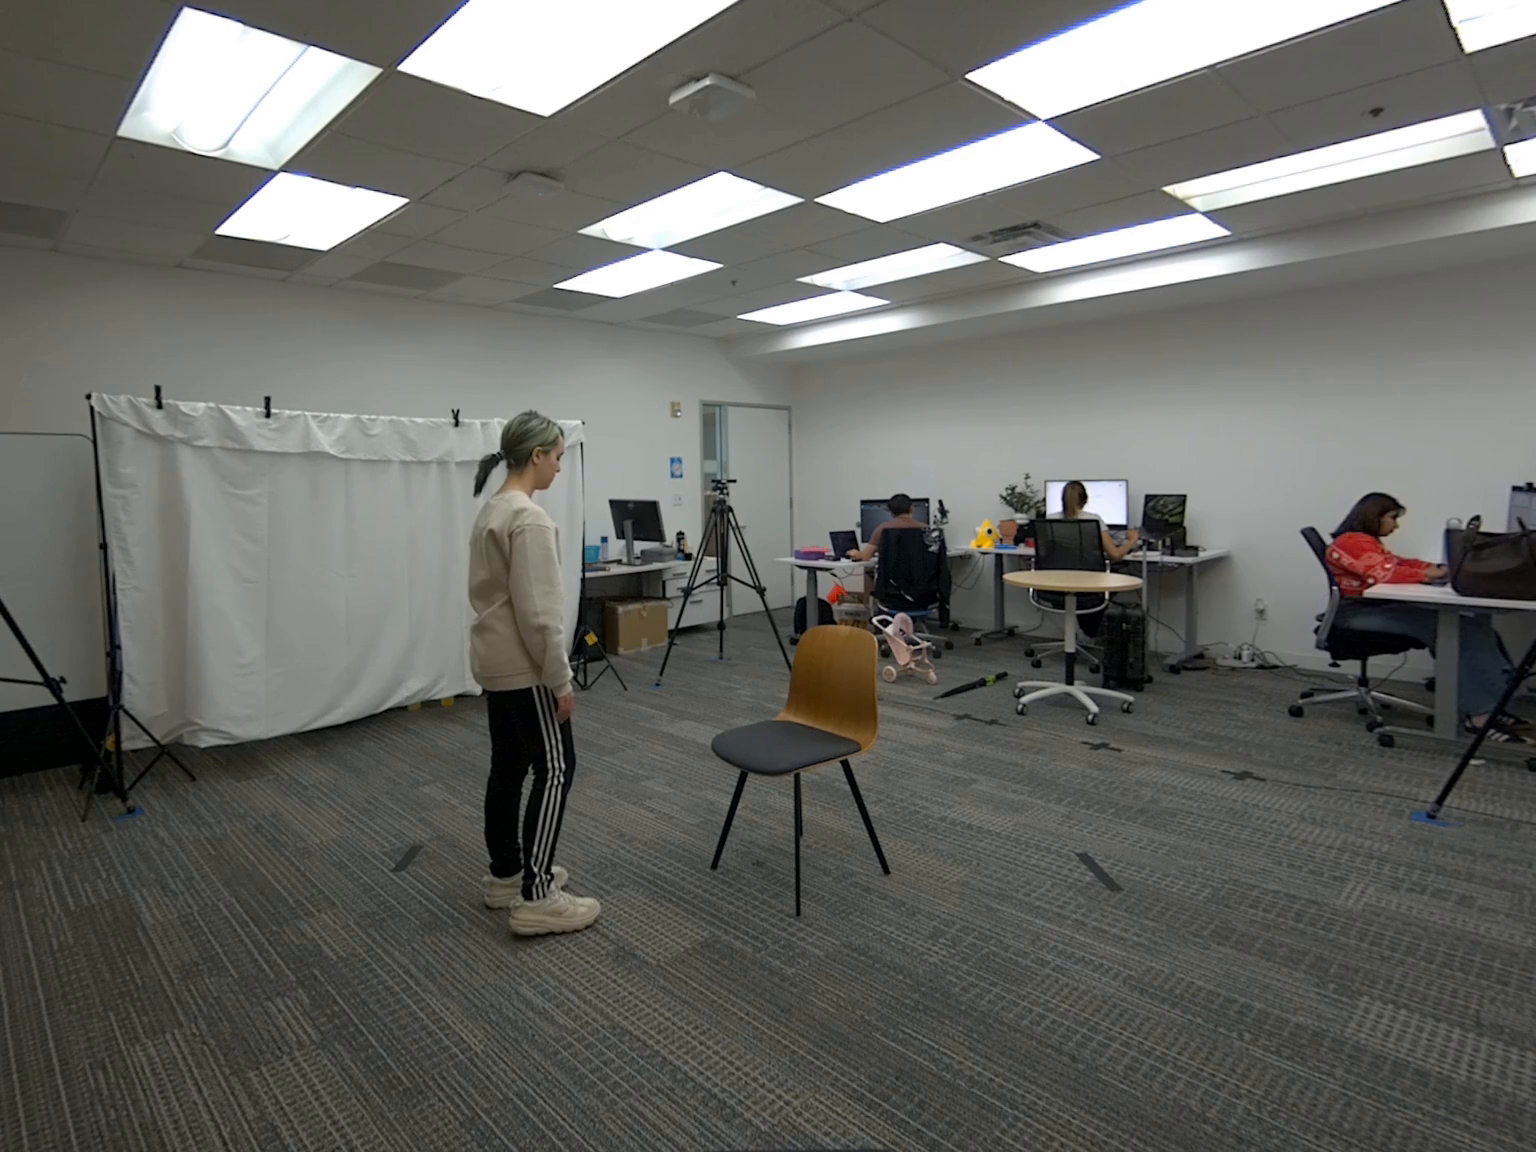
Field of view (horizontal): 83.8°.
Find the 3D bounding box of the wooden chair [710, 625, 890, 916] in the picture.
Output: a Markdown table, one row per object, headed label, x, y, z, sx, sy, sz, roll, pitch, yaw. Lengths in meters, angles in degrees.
| label | x | y | z | sx | sy | sz | roll | pitch | yaw |
| --- | --- | --- | --- | --- | --- | --- | --- | --- | --- |
| wooden chair | 0.101 | 0.626 | 3.002 | 0.508 | 0.876 | 0.493 | 1 | 2 | -41 |
